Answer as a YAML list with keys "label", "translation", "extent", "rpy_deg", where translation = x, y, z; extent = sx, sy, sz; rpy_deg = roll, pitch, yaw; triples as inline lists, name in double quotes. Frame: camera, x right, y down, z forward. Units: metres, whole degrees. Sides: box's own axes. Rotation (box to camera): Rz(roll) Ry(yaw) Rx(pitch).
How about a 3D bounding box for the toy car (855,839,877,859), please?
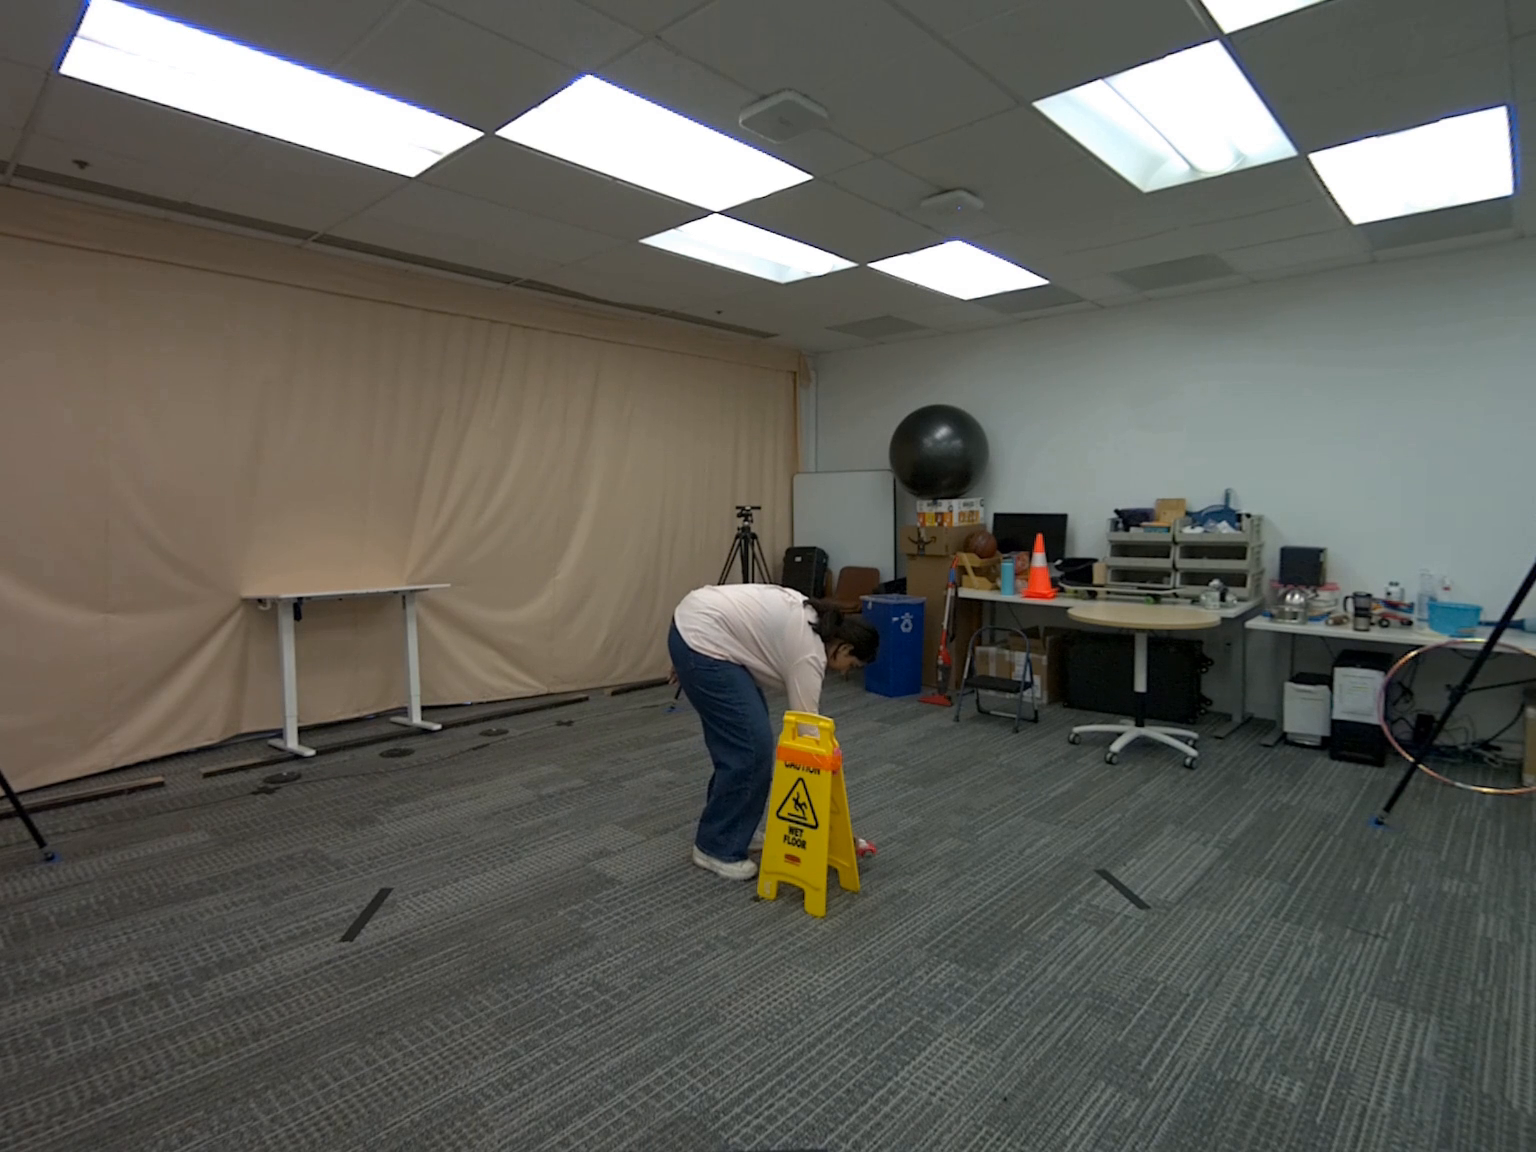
- label: "toy car"
  translation: [0.285, 1.028, 3.214]
  extent: [0.253, 0.083, 0.131]
  rpy_deg: [24, 0, -6]
